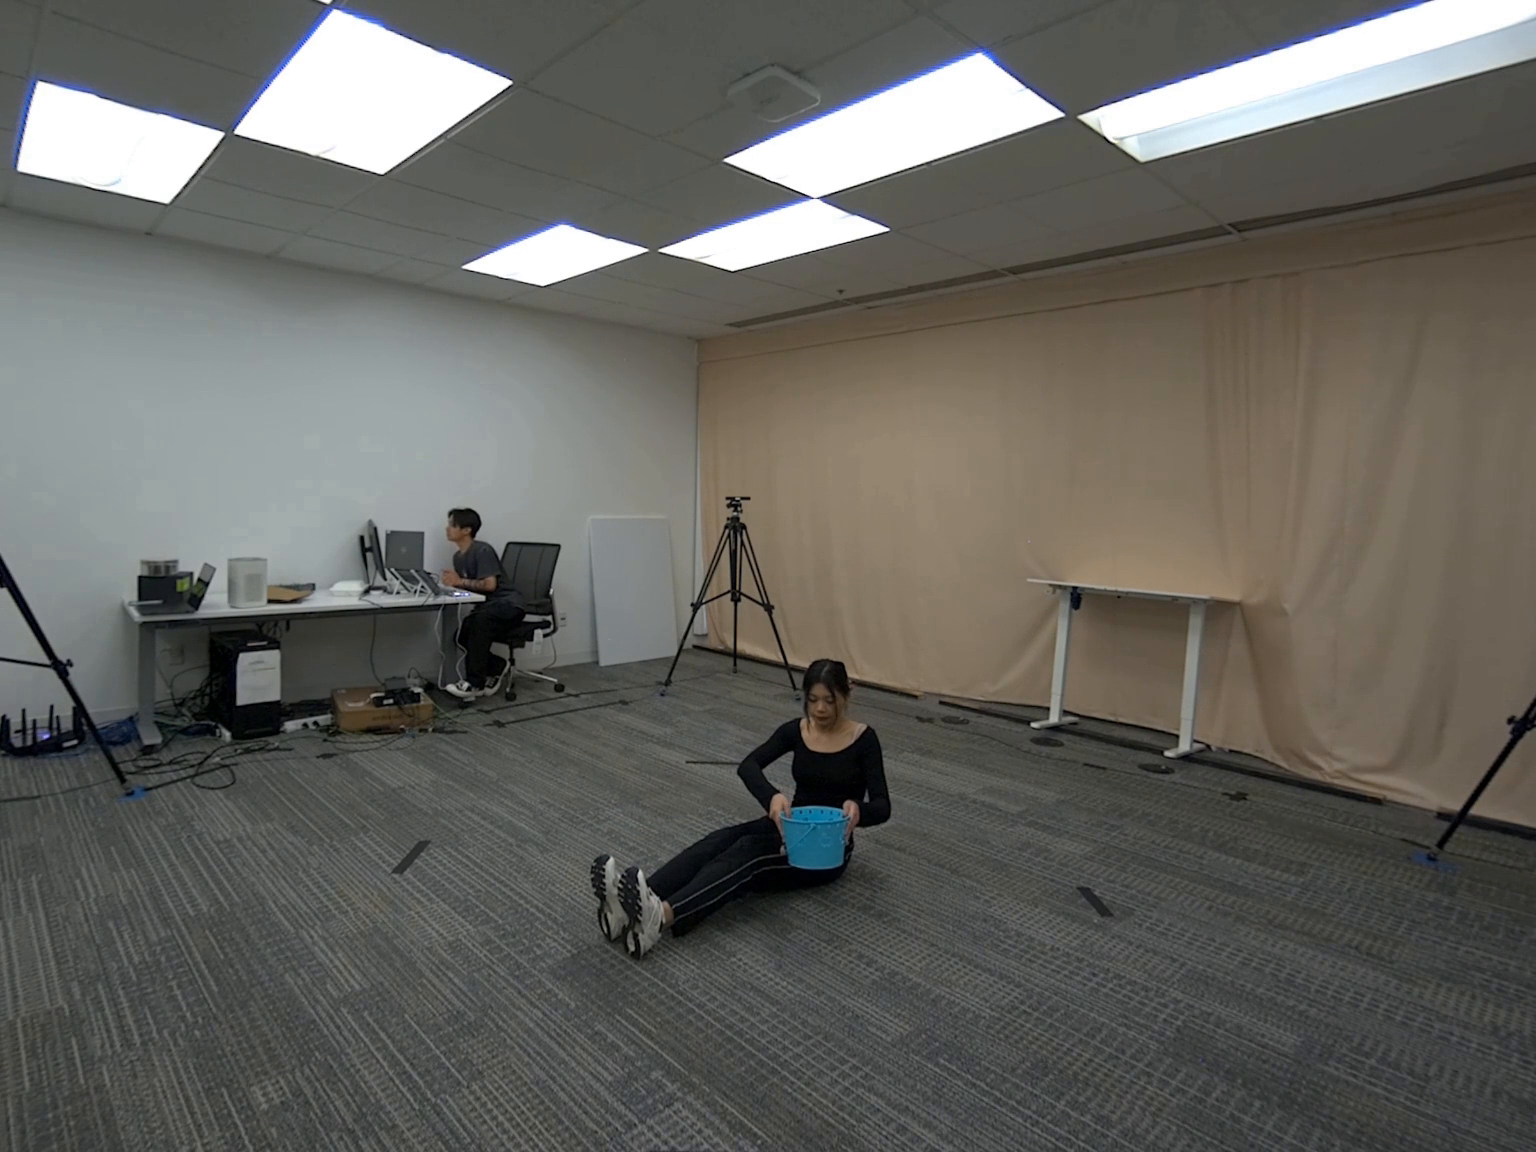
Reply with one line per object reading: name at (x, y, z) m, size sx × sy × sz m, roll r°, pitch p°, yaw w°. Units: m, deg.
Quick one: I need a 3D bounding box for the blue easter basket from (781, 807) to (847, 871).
blue easter basket at (0.137, 0.868, 2.779) m, size 0.243 × 0.156 × 0.243 m, roll -1°, pitch -3°, yaw -1°
